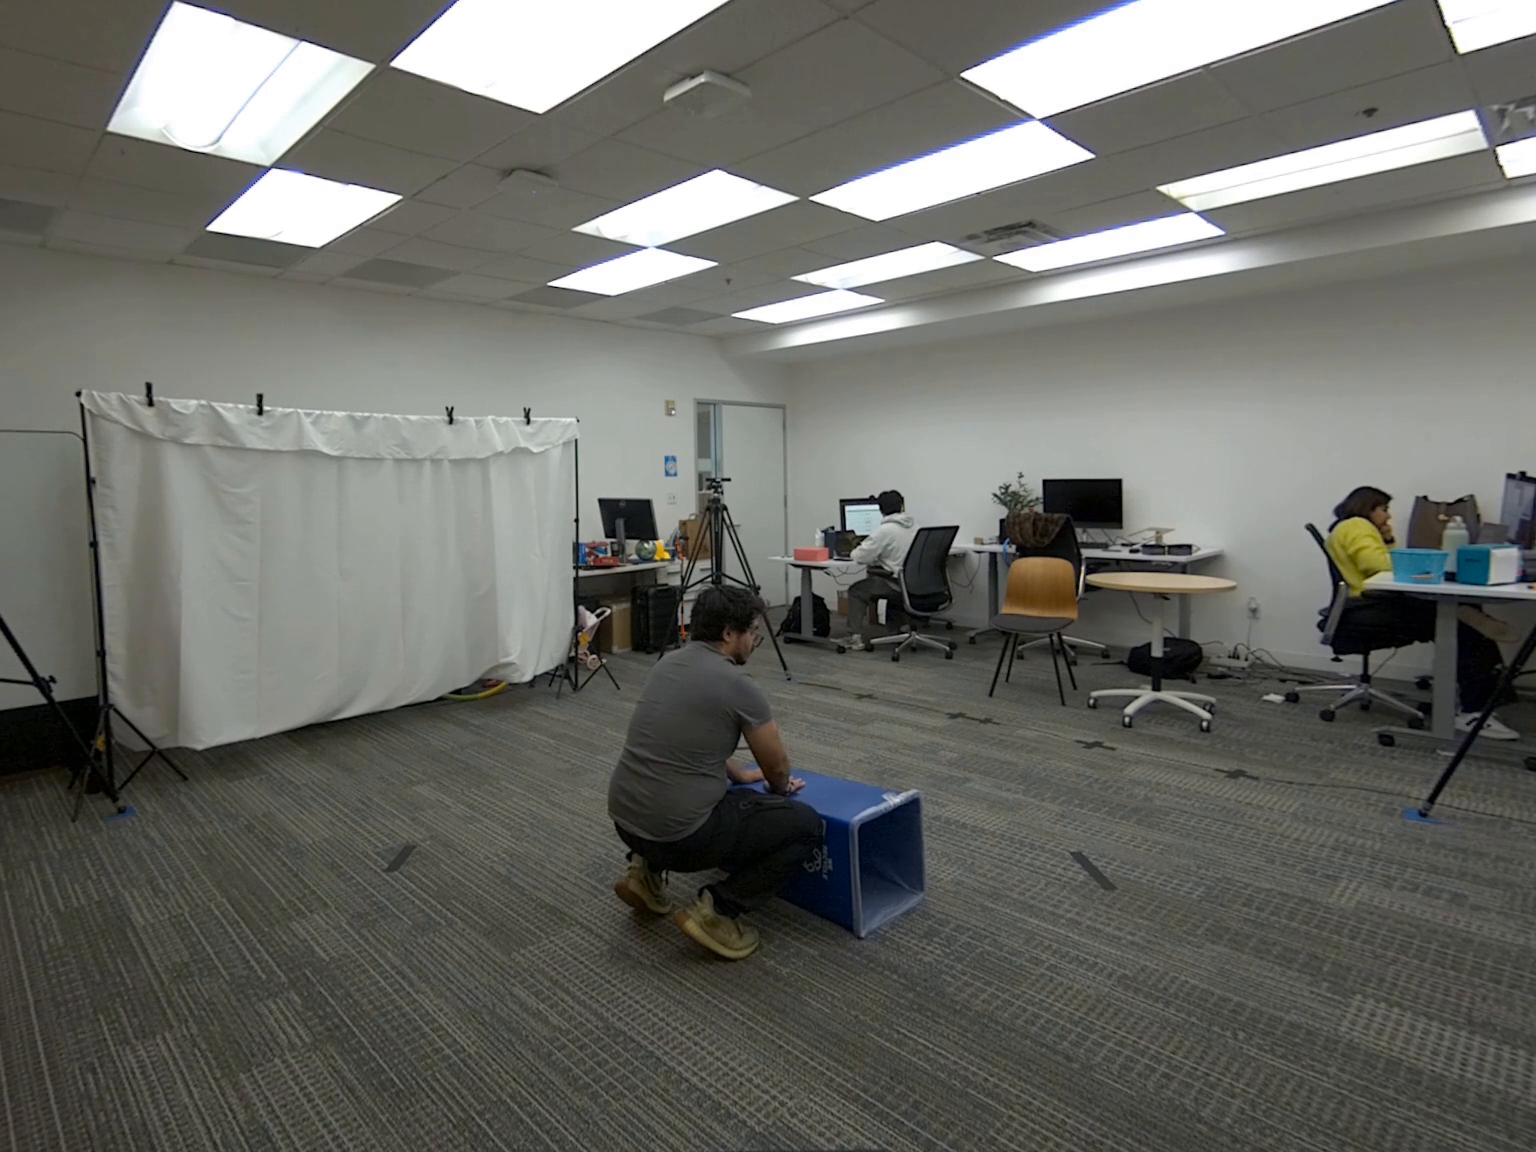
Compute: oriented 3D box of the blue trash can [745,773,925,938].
[{"bbox_3d":[0.138,0.882,2.949,0.364,0.377,0.735,-6,6,-44],"label":"blue trash can"}]
